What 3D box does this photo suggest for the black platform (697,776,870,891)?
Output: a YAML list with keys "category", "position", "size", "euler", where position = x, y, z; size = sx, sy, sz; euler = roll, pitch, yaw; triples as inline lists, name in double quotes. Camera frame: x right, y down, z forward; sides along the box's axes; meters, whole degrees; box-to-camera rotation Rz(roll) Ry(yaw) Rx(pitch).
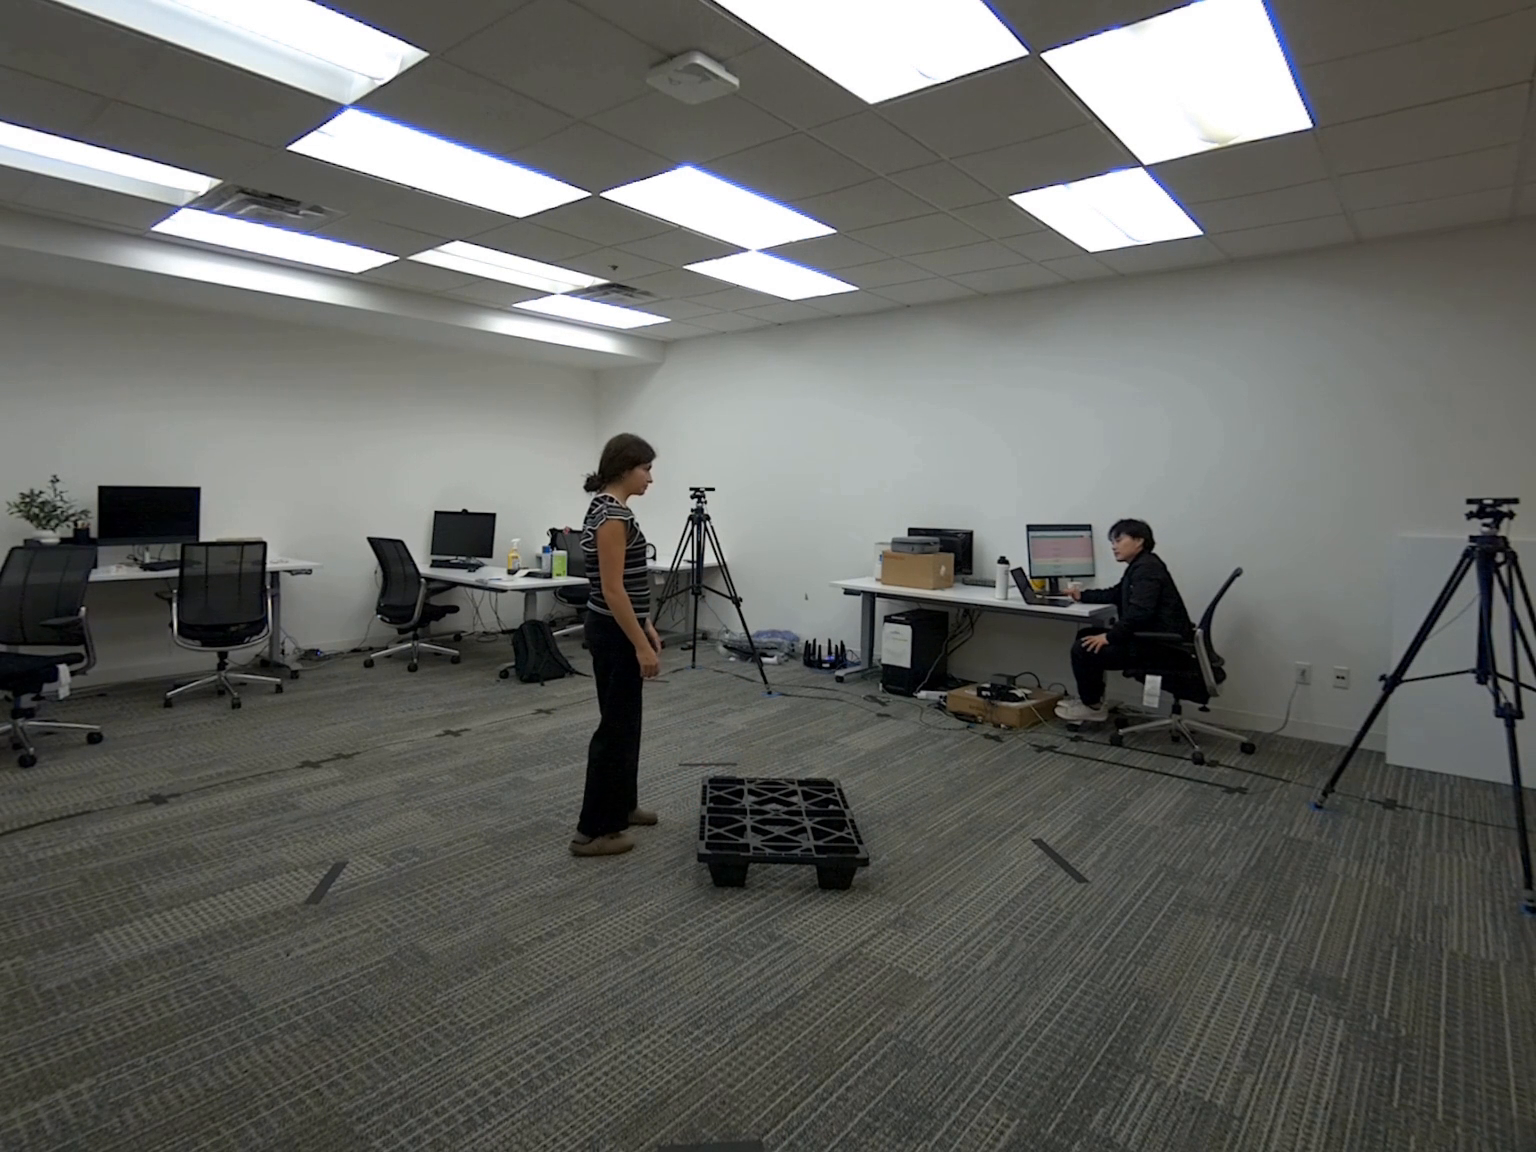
- category: "black platform"
  position: [0.020, 0.983, 3.322]
  size: [0.605, 0.143, 0.809]
  euler: [1, 5, -1]
